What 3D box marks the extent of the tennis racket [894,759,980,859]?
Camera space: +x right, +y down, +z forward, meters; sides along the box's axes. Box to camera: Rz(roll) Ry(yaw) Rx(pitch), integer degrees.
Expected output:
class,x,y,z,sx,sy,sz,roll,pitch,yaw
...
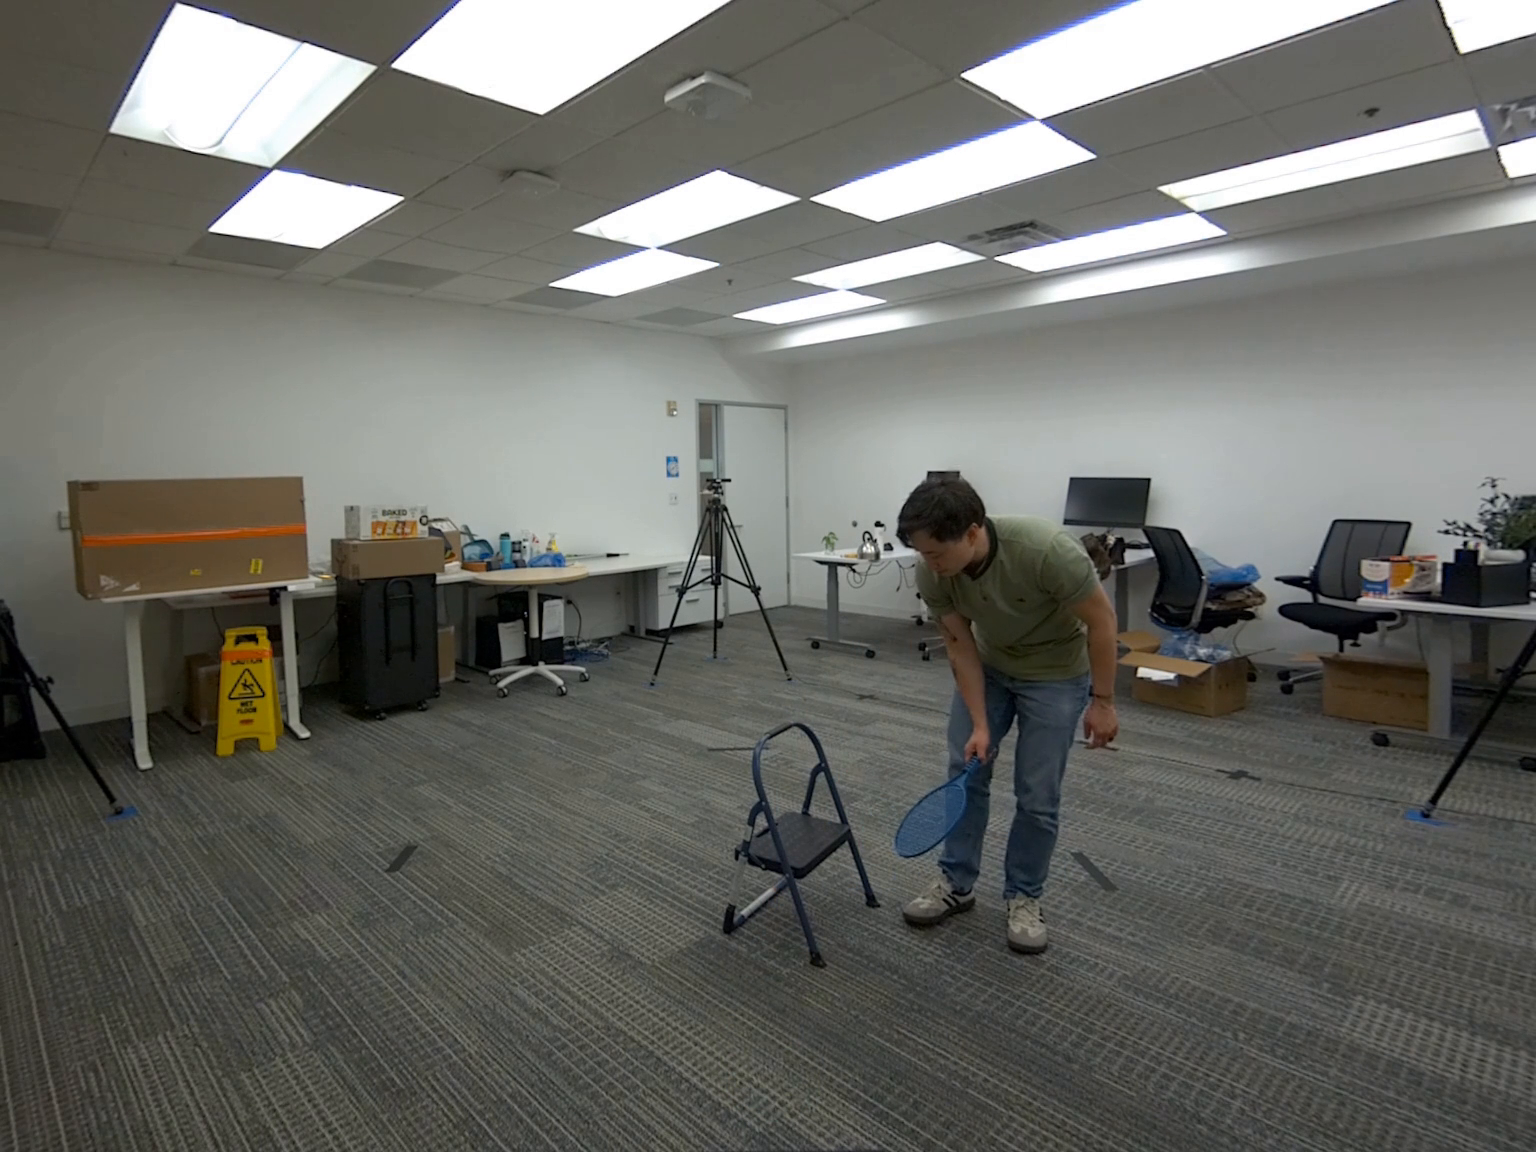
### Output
class,x,y,z,sx,sy,sz,roll,pitch,yaw
tennis racket,0.503,0.641,2.454,0.432,0.031,0.216,-45,12,-28
